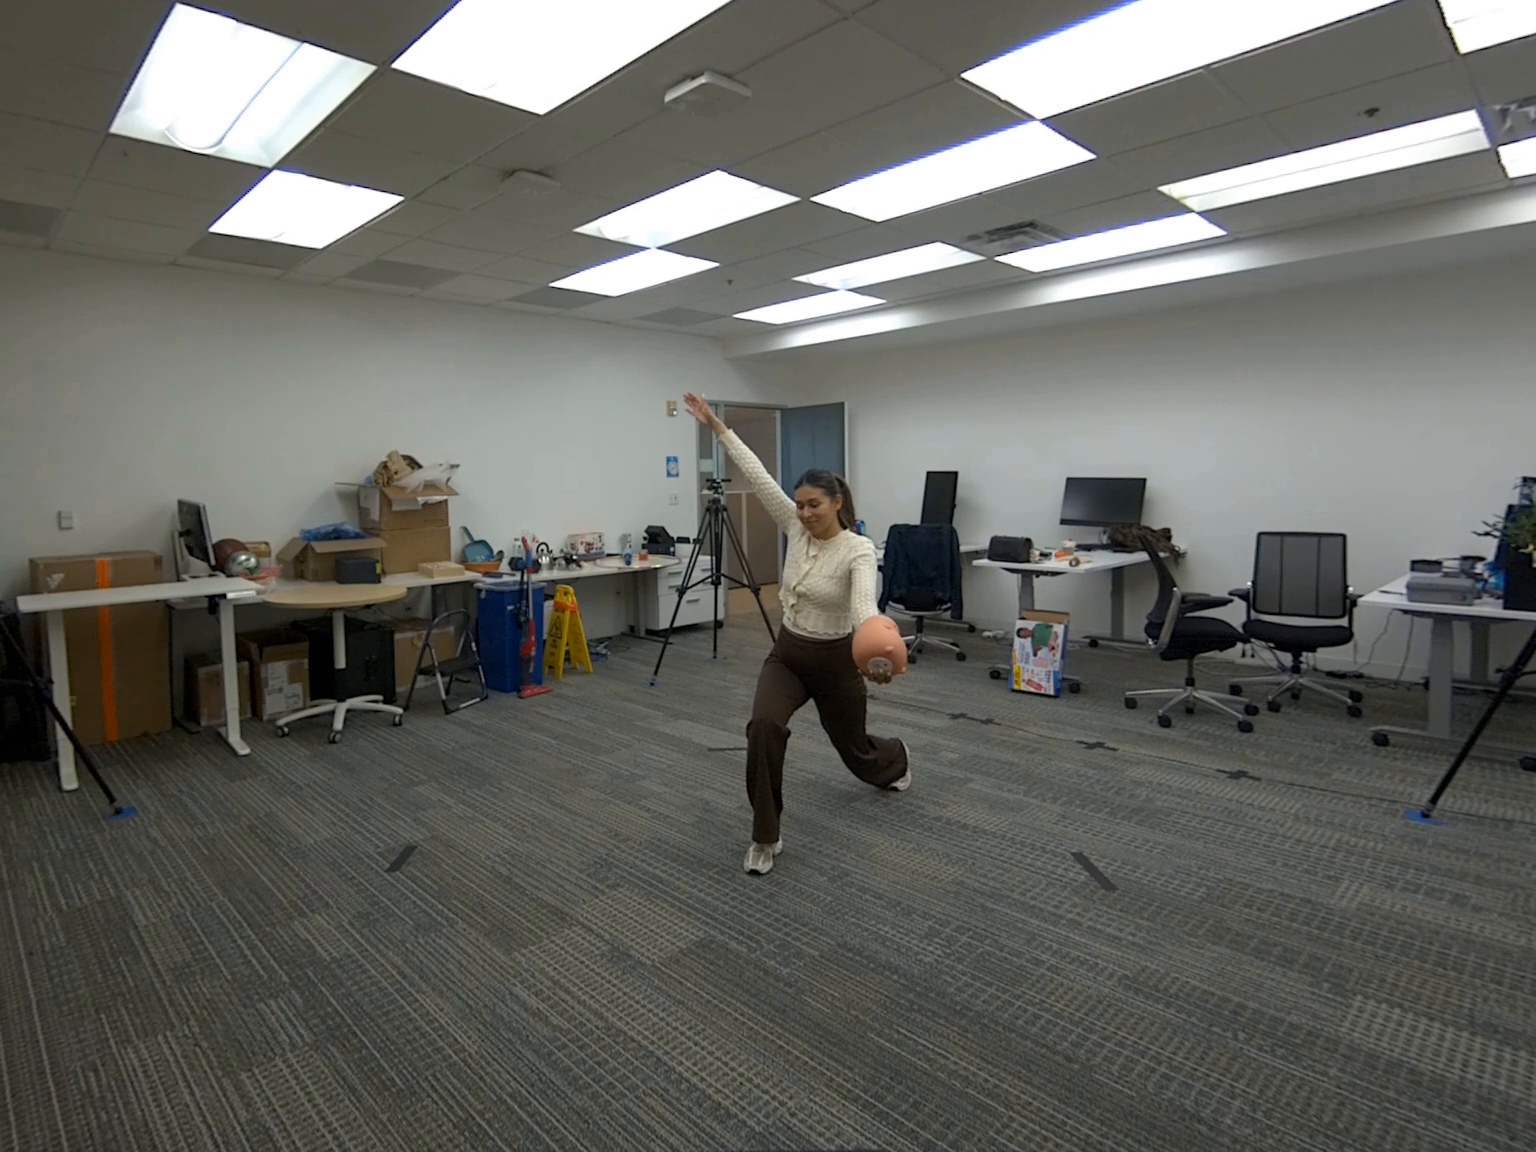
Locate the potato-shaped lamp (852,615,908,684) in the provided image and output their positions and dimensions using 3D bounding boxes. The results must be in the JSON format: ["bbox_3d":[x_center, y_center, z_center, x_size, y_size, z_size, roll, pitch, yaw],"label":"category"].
[{"bbox_3d":[0.359,0.221,2.730,0.174,0.159,0.202,-17,36,26],"label":"potato-shaped lamp"}]
